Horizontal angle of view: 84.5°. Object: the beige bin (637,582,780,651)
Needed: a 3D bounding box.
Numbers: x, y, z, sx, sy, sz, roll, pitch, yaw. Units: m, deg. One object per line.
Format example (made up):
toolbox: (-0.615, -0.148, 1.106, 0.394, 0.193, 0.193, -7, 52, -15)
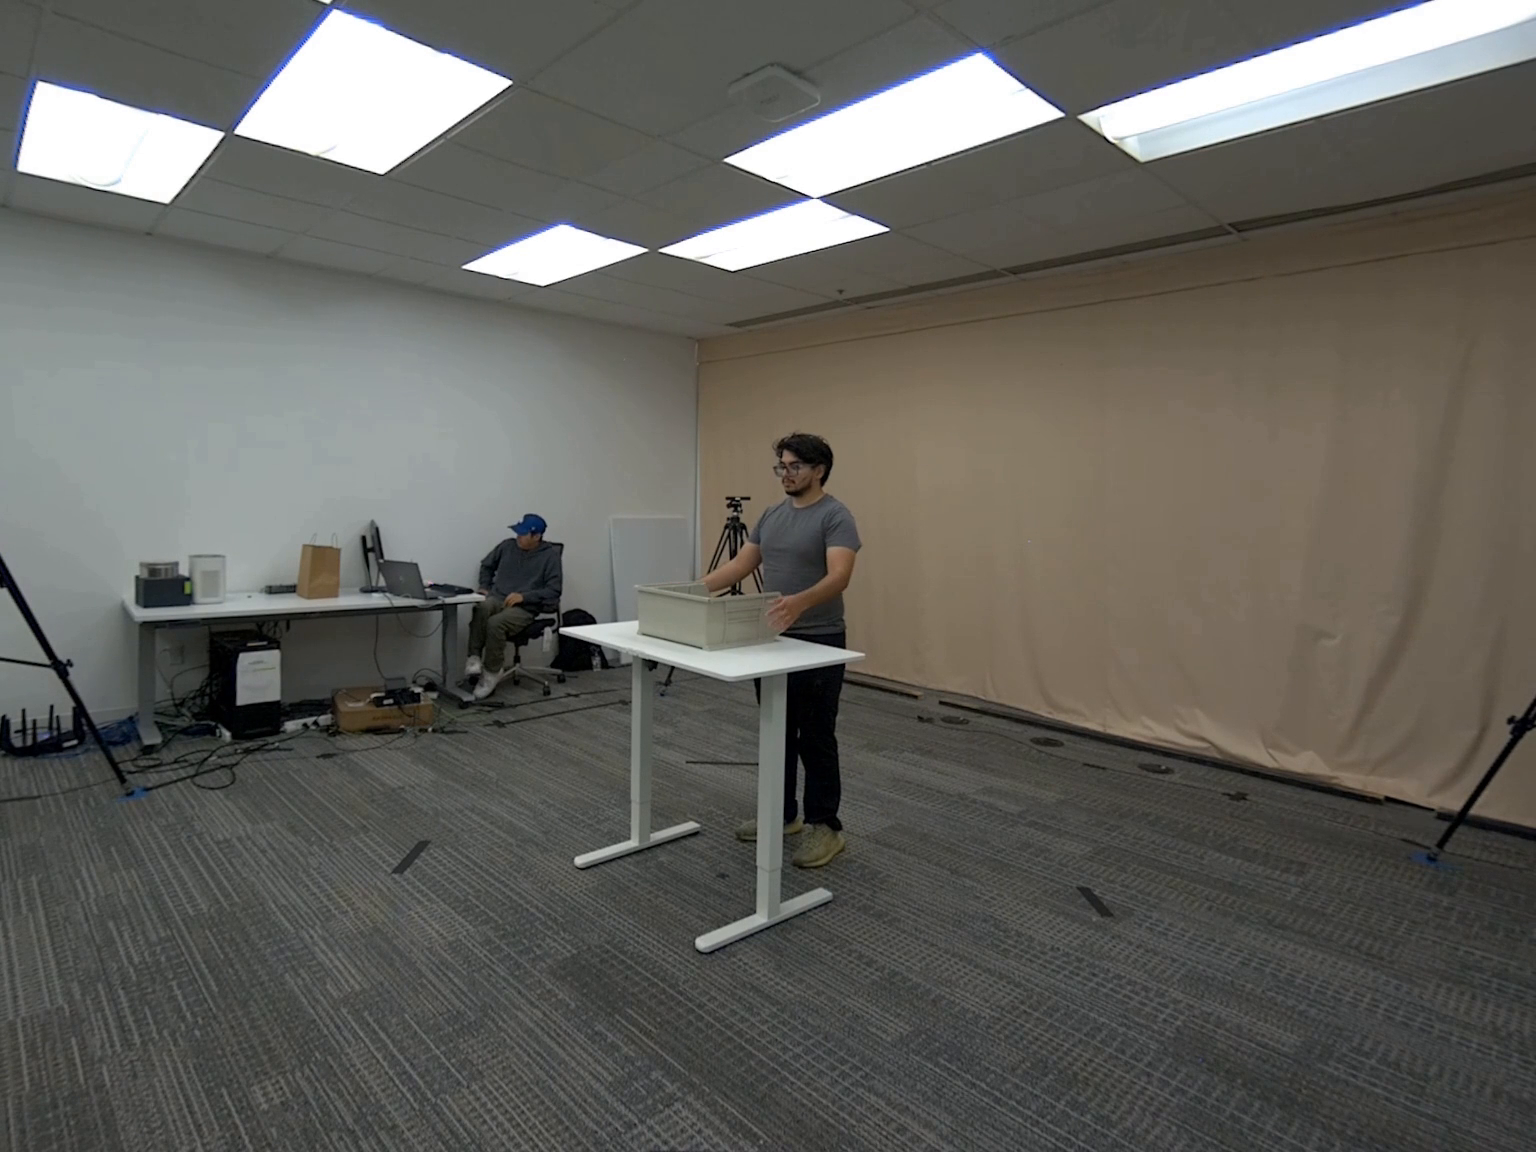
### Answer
beige bin: (-0.219, 0.140, 3.056, 0.369, 0.188, 0.433, -5, 9, -44)
